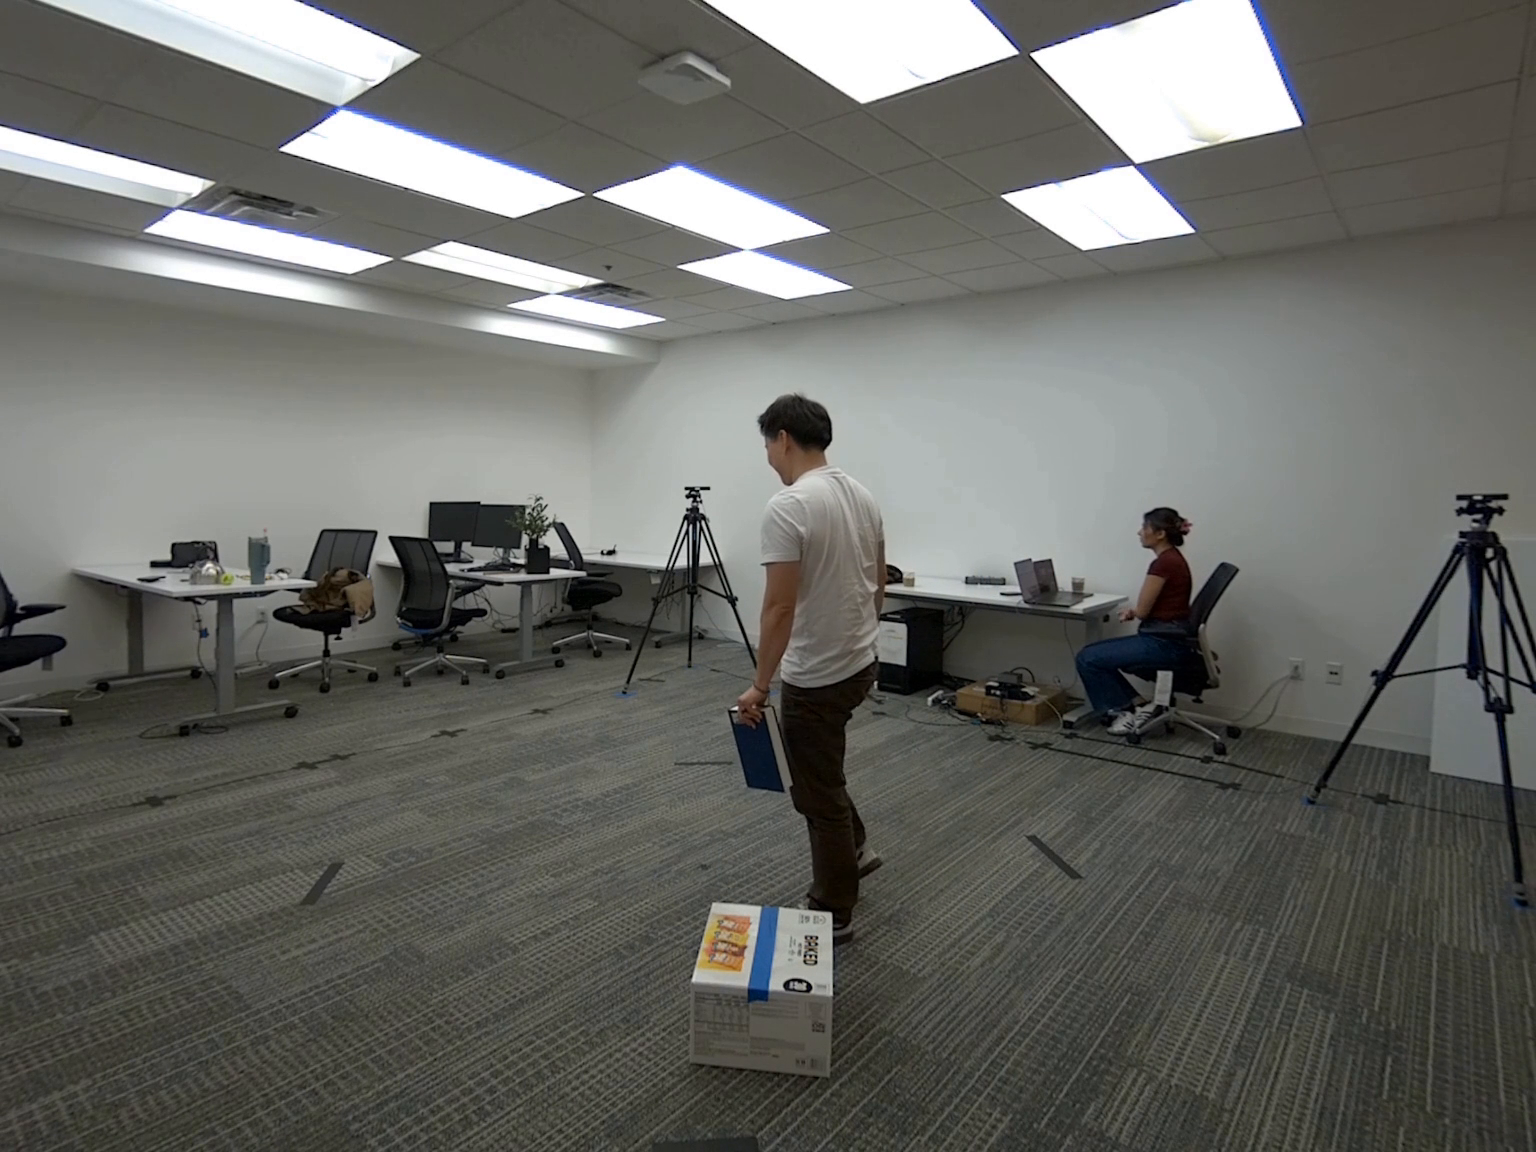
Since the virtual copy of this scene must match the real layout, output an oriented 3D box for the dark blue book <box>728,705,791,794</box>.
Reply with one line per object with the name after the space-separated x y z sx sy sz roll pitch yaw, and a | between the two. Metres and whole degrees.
-0.033 0.499 2.502 0.168 0.244 0.044 -10 5 45 | dark blue book
